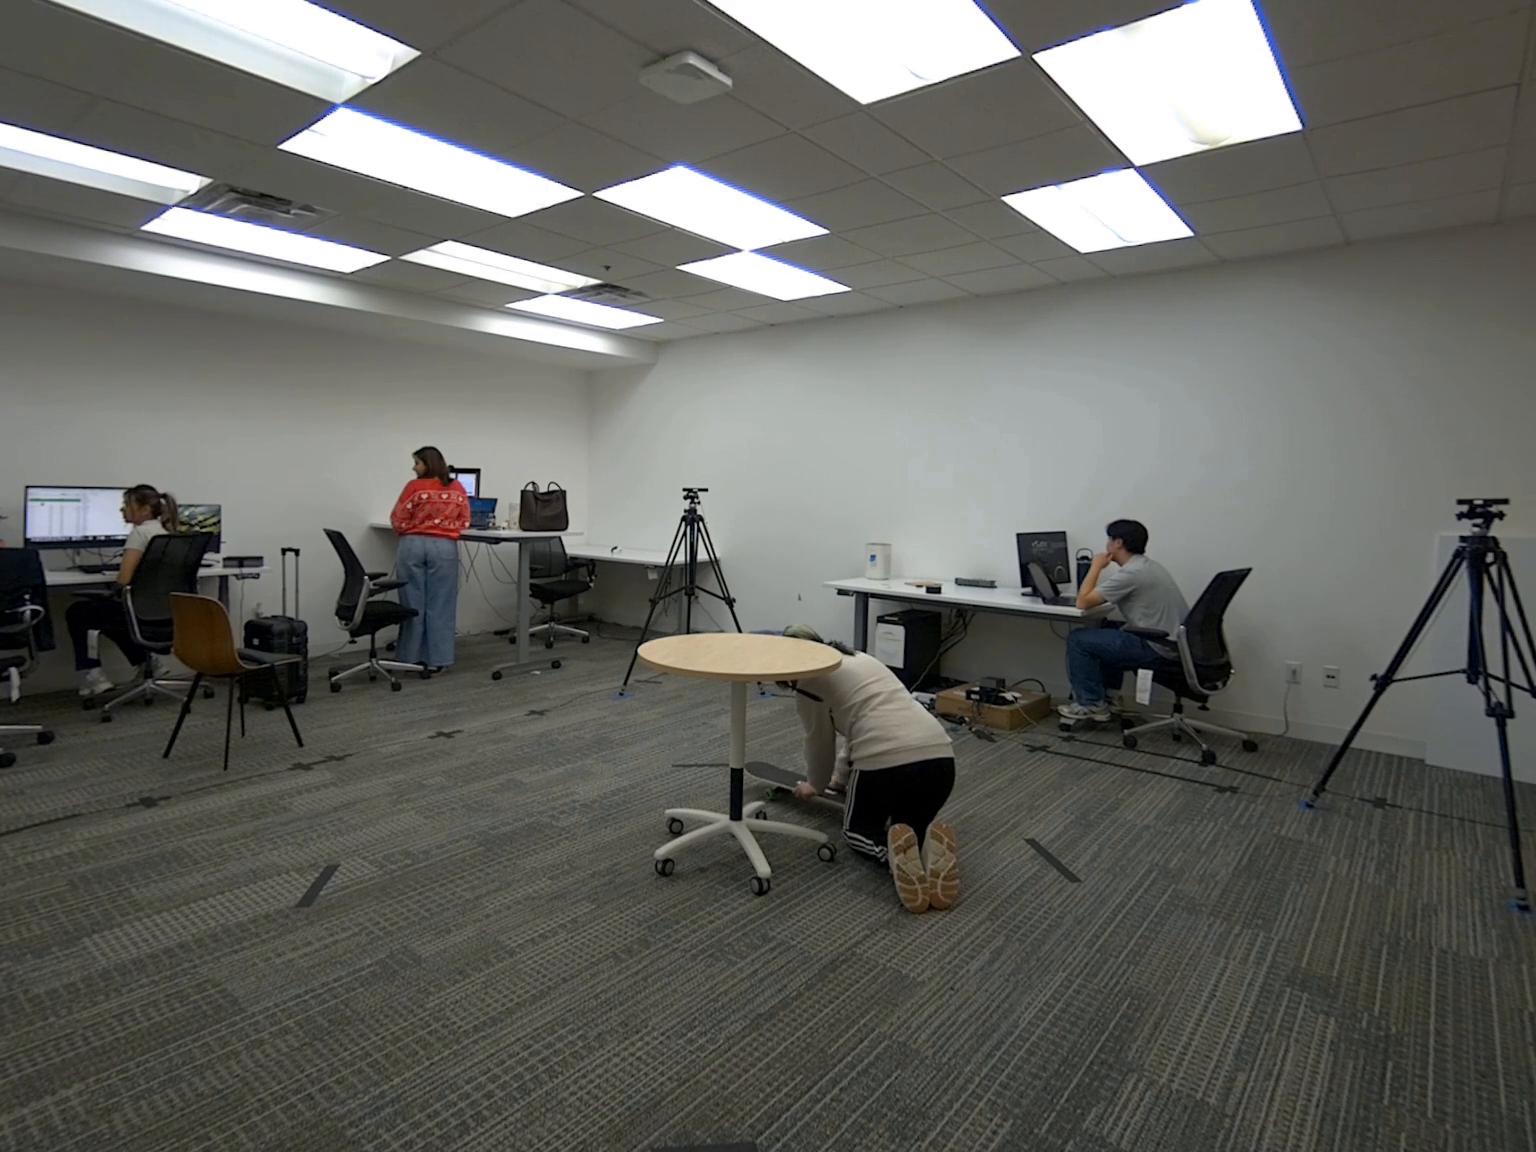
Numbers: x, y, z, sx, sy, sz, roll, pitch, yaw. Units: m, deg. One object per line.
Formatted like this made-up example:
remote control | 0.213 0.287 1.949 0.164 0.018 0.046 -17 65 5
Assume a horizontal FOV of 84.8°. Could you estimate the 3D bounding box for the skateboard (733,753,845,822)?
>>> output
skateboard | 0.204 0.950 3.735 0.812 0.110 0.187 6 5 42
